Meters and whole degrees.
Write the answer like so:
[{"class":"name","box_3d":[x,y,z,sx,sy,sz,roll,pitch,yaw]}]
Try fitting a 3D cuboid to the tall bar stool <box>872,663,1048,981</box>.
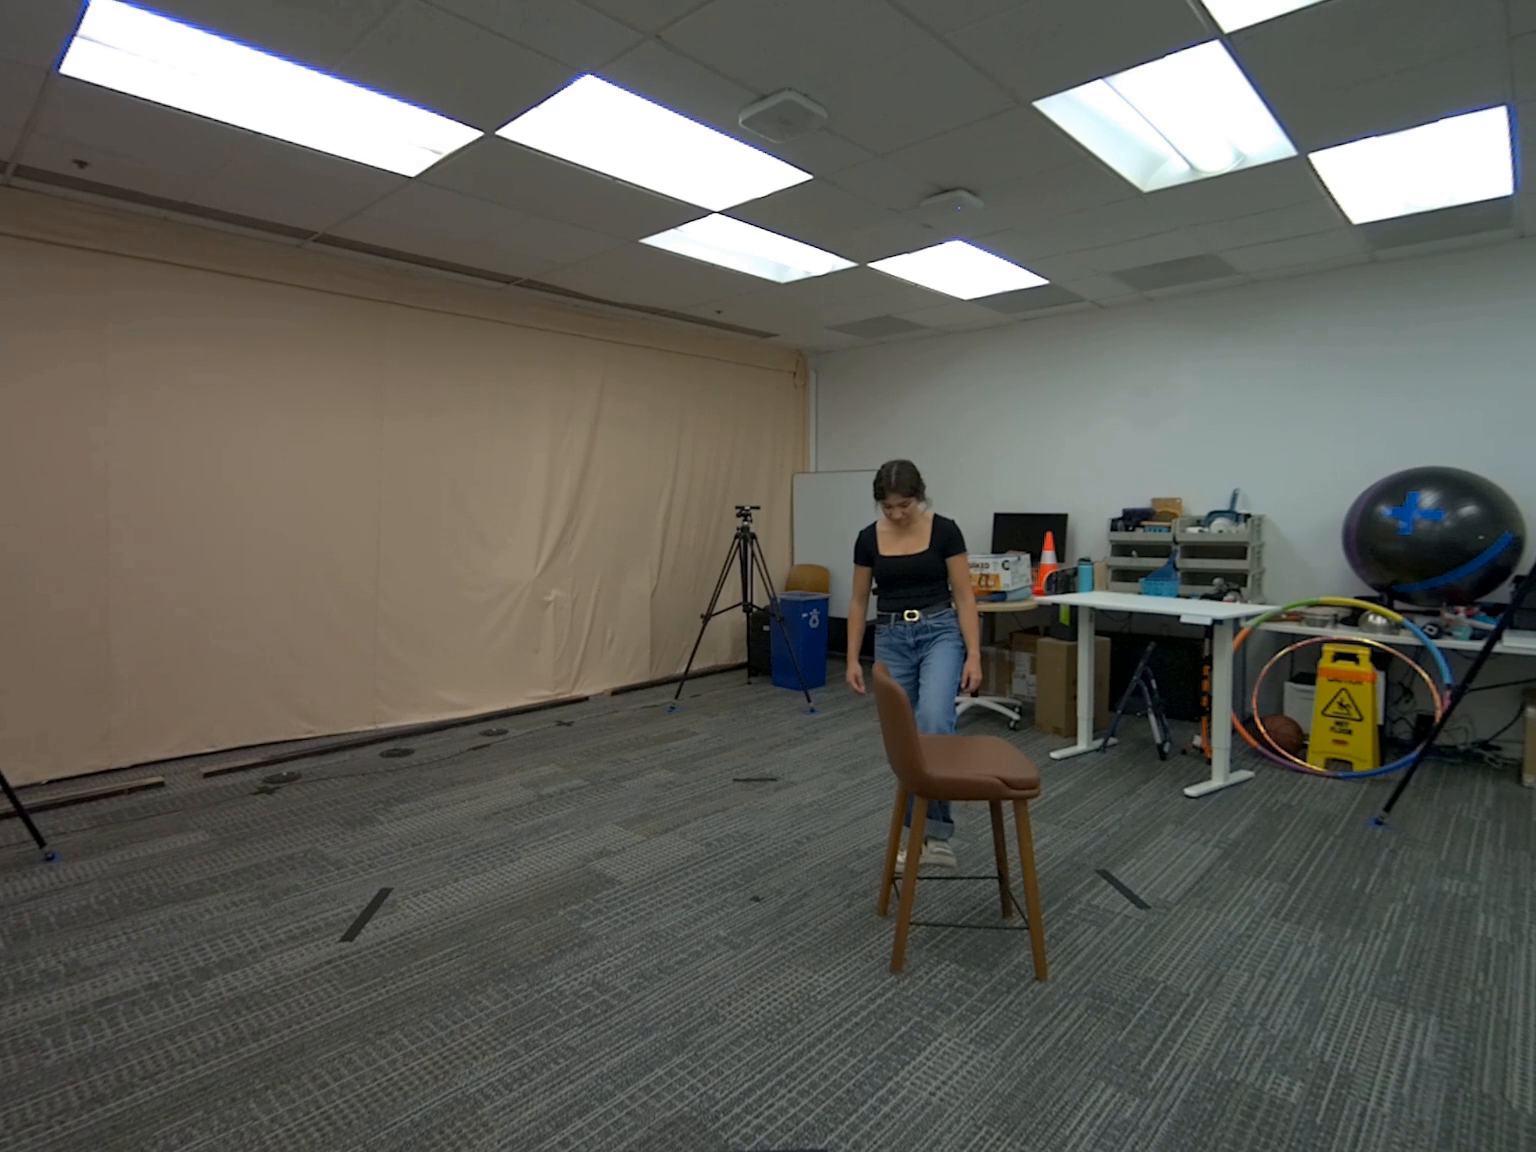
[{"class":"tall bar stool","box_3d":[0.593,0.736,2.651,0.470,0.888,0.455,-2,3,4]}]
